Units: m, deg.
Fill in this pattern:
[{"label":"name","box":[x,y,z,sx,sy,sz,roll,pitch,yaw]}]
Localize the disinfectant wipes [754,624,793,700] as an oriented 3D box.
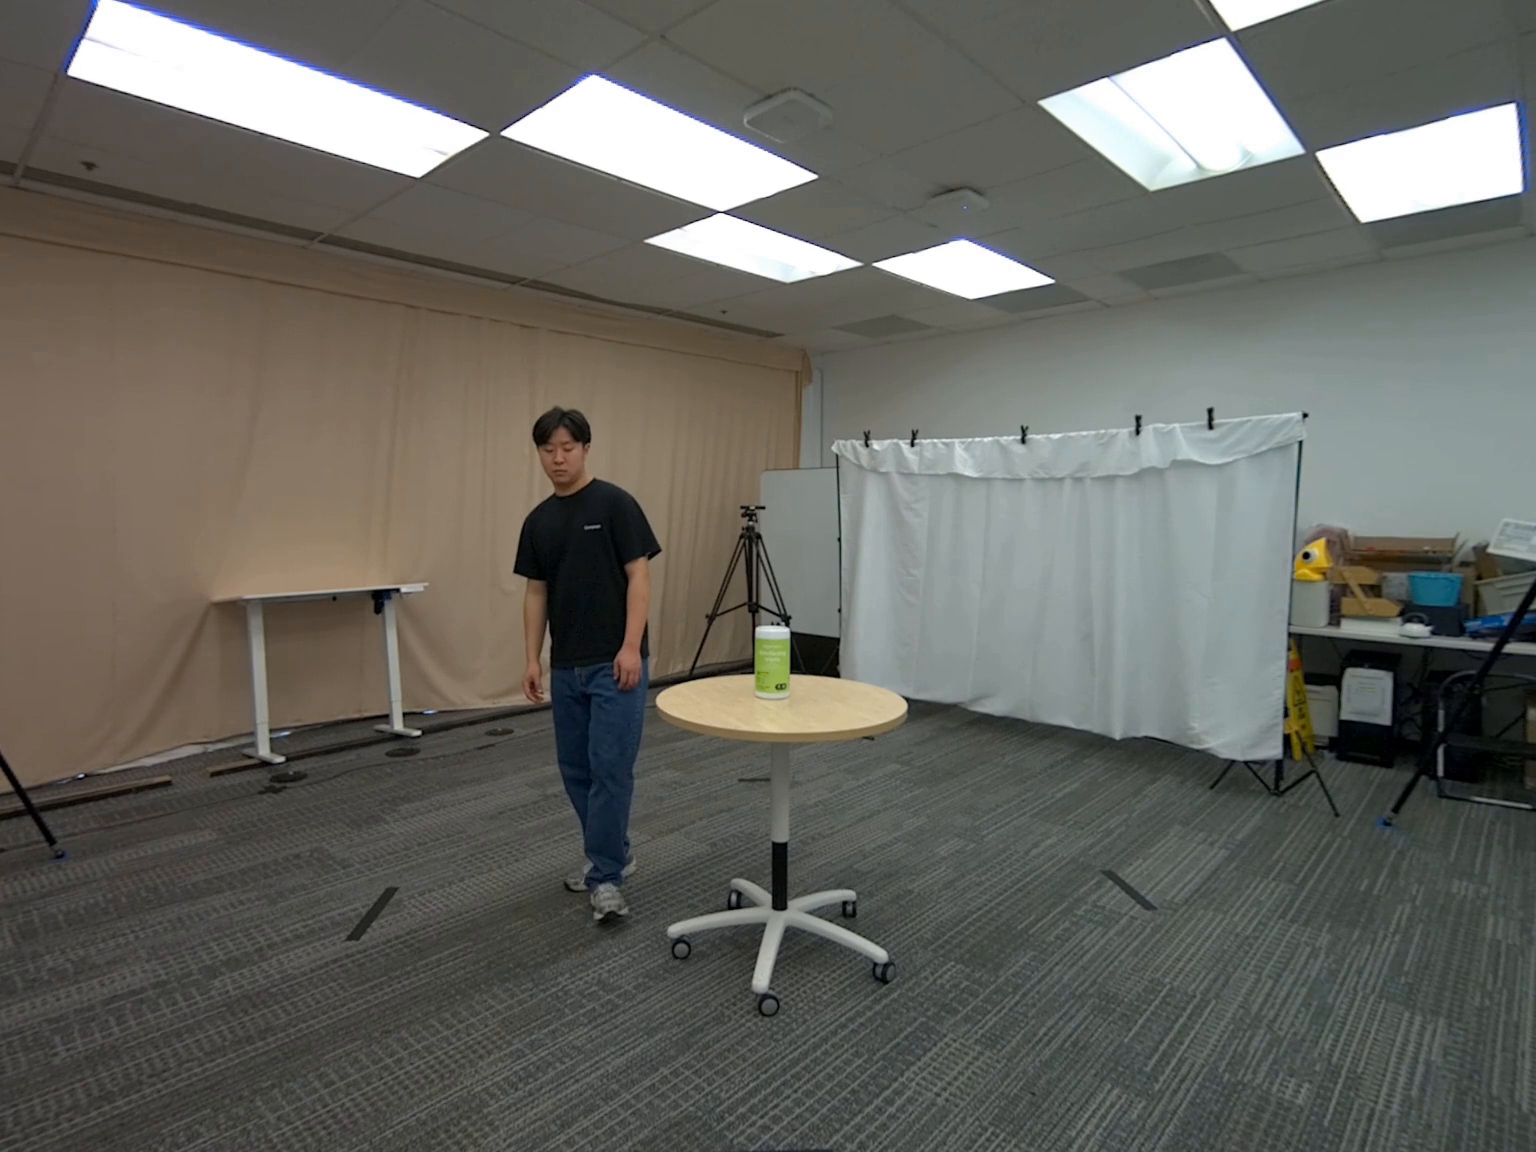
[{"label":"disinfectant wipes","box":[0.021,0.272,2.625,0.118,0.217,0.118,0,4,-2]}]
